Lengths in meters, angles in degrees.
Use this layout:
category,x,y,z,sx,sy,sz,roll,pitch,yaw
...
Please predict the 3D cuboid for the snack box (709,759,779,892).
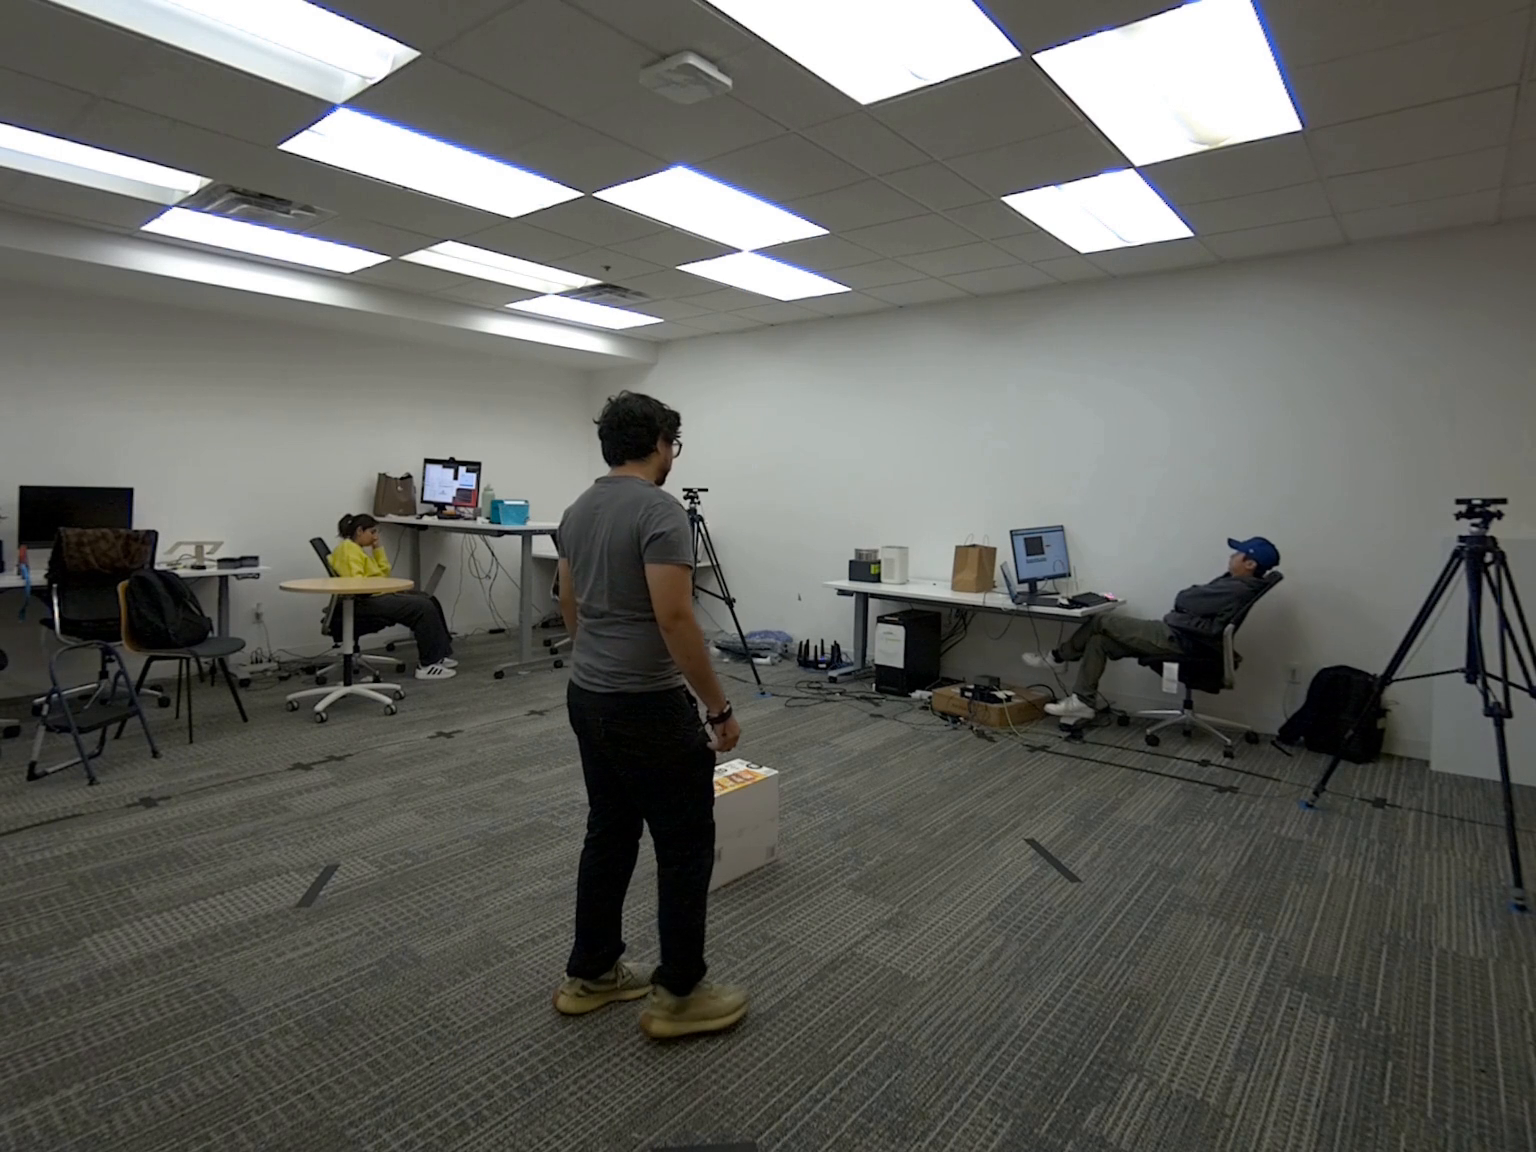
category,x,y,z,sx,sy,sz,roll,pitch,yaw
snack box,-0.169,0.900,3.110,0.212,0.339,0.393,4,6,39
